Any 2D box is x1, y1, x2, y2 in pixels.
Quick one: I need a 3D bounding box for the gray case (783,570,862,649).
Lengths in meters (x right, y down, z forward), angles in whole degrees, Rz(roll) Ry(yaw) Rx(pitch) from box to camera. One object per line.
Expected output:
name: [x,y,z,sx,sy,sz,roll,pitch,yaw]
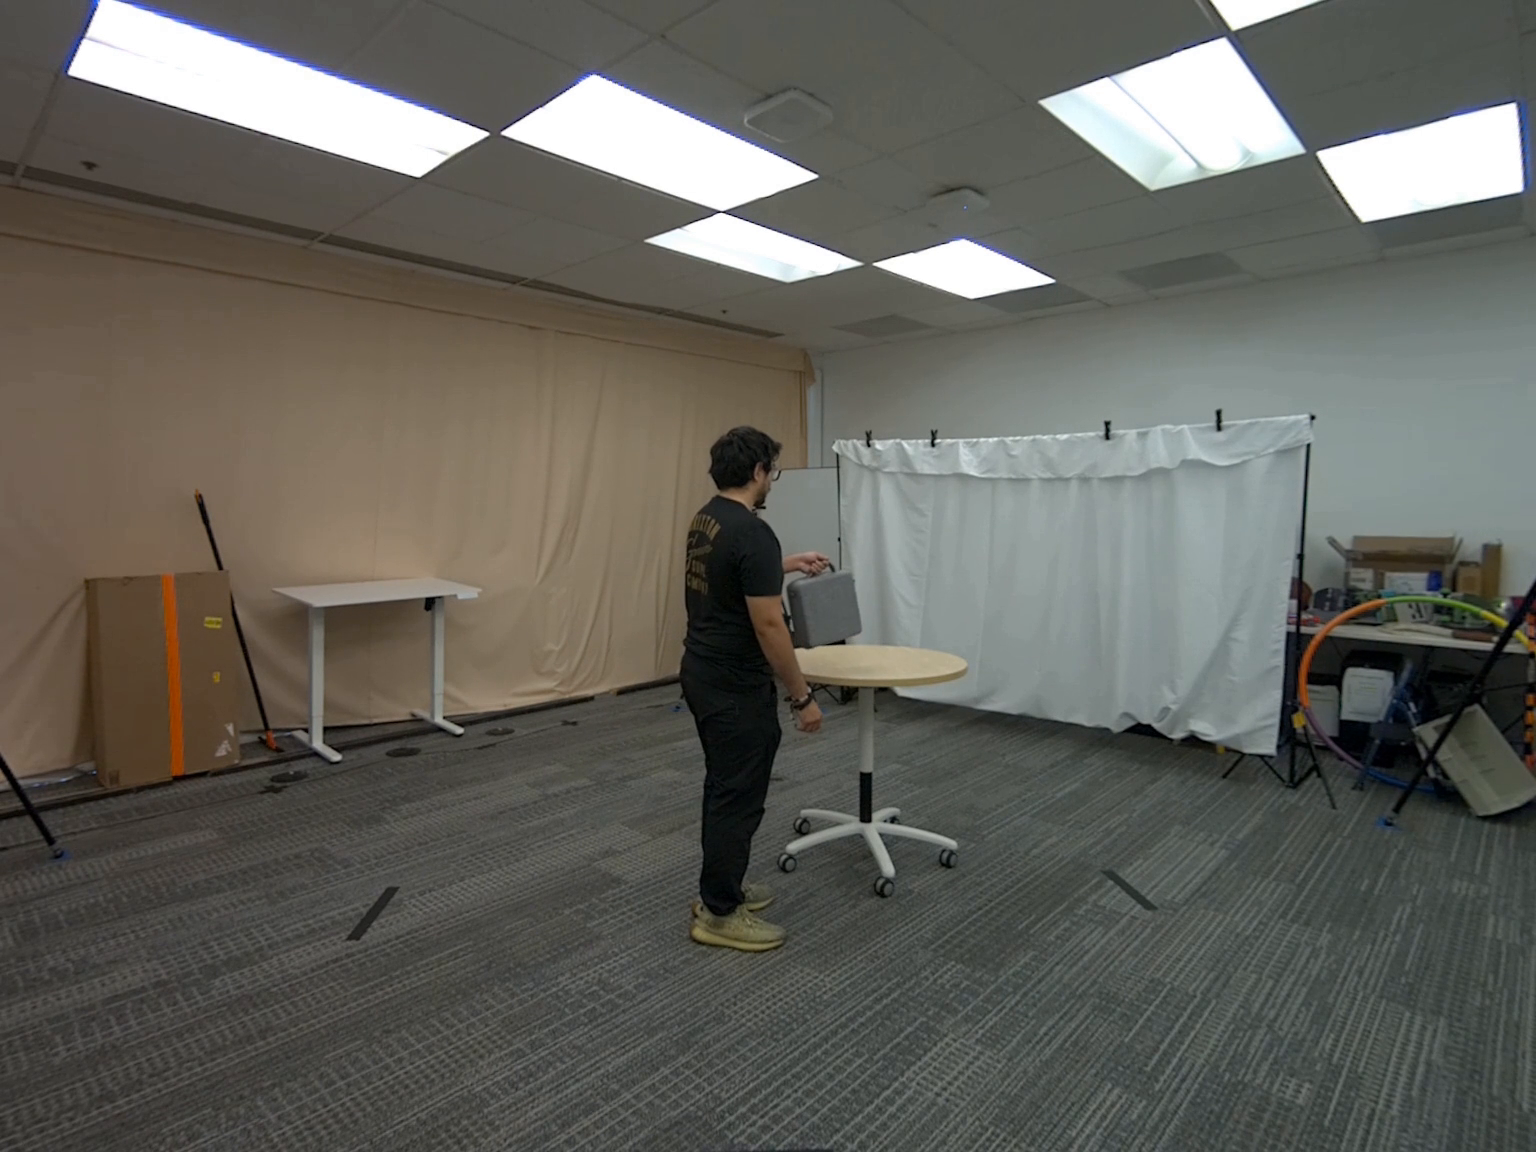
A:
gray case: [0.213,0.120,3.111,0.252,0.260,0.107,-12,5,-22]
